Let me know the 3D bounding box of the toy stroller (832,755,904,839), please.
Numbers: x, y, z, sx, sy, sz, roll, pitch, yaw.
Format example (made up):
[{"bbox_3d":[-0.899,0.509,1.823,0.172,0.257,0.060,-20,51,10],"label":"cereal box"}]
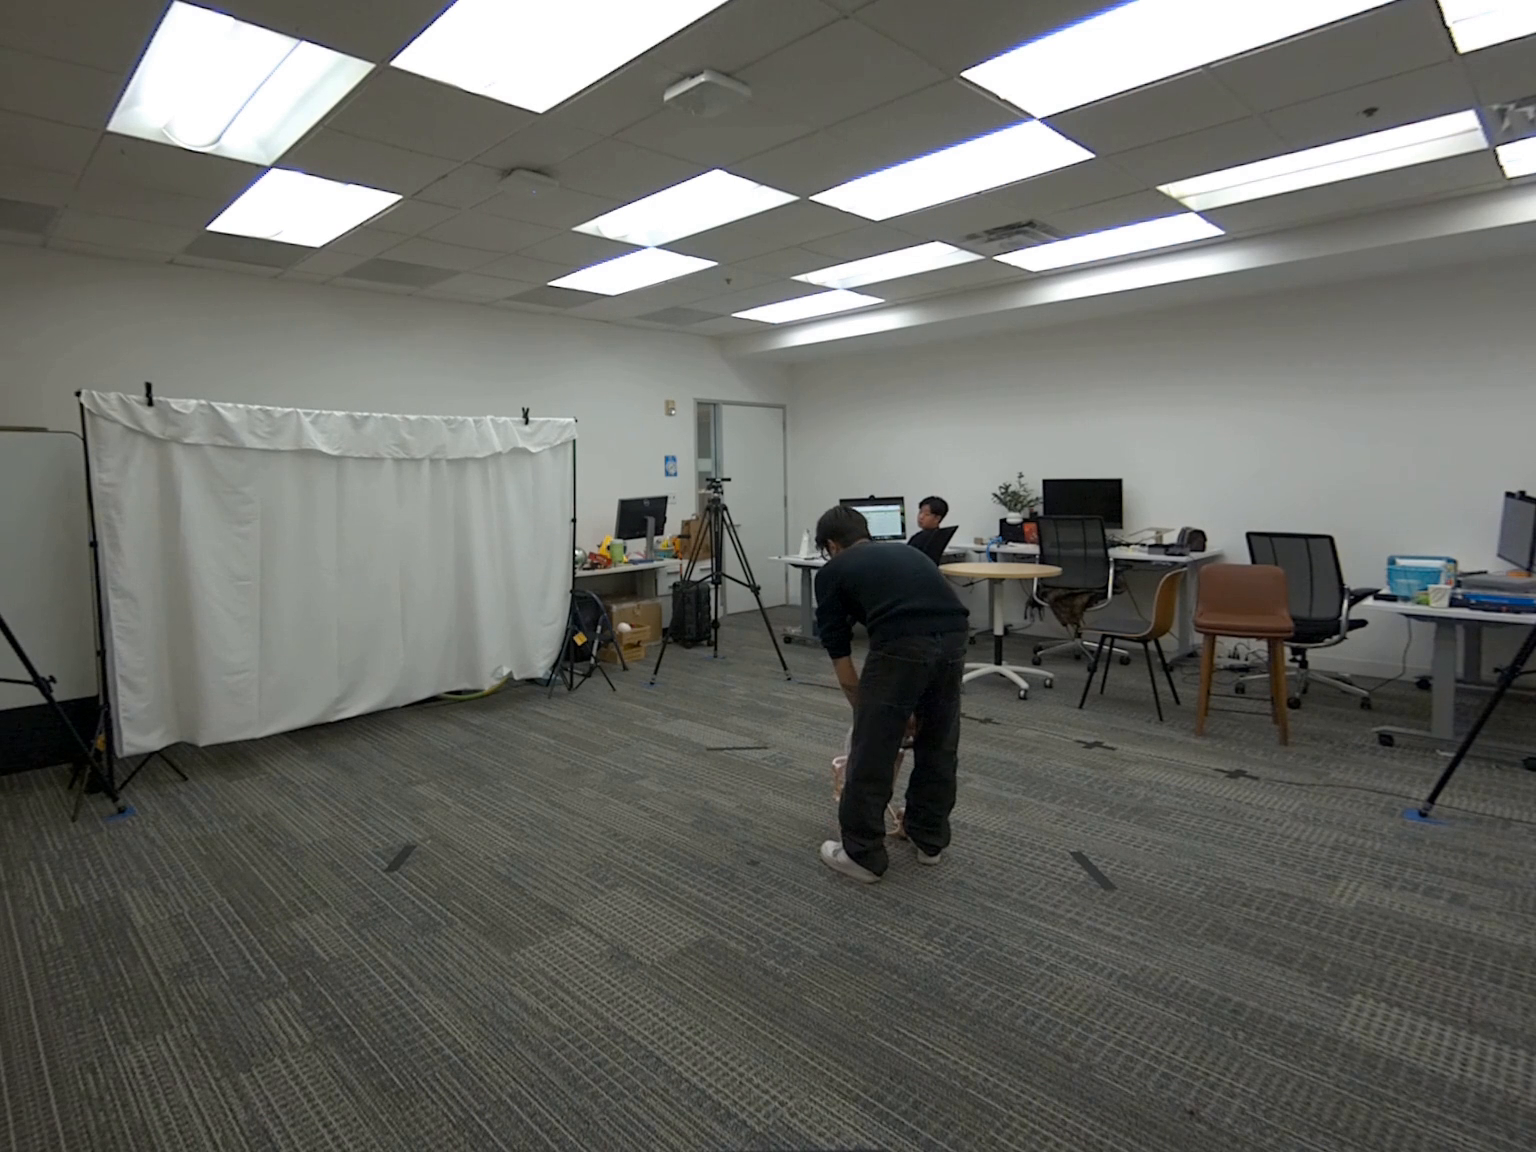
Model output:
[{"bbox_3d":[0.394,0.784,3.341,0.278,0.527,0.351,-1,20,-15],"label":"toy stroller"}]
